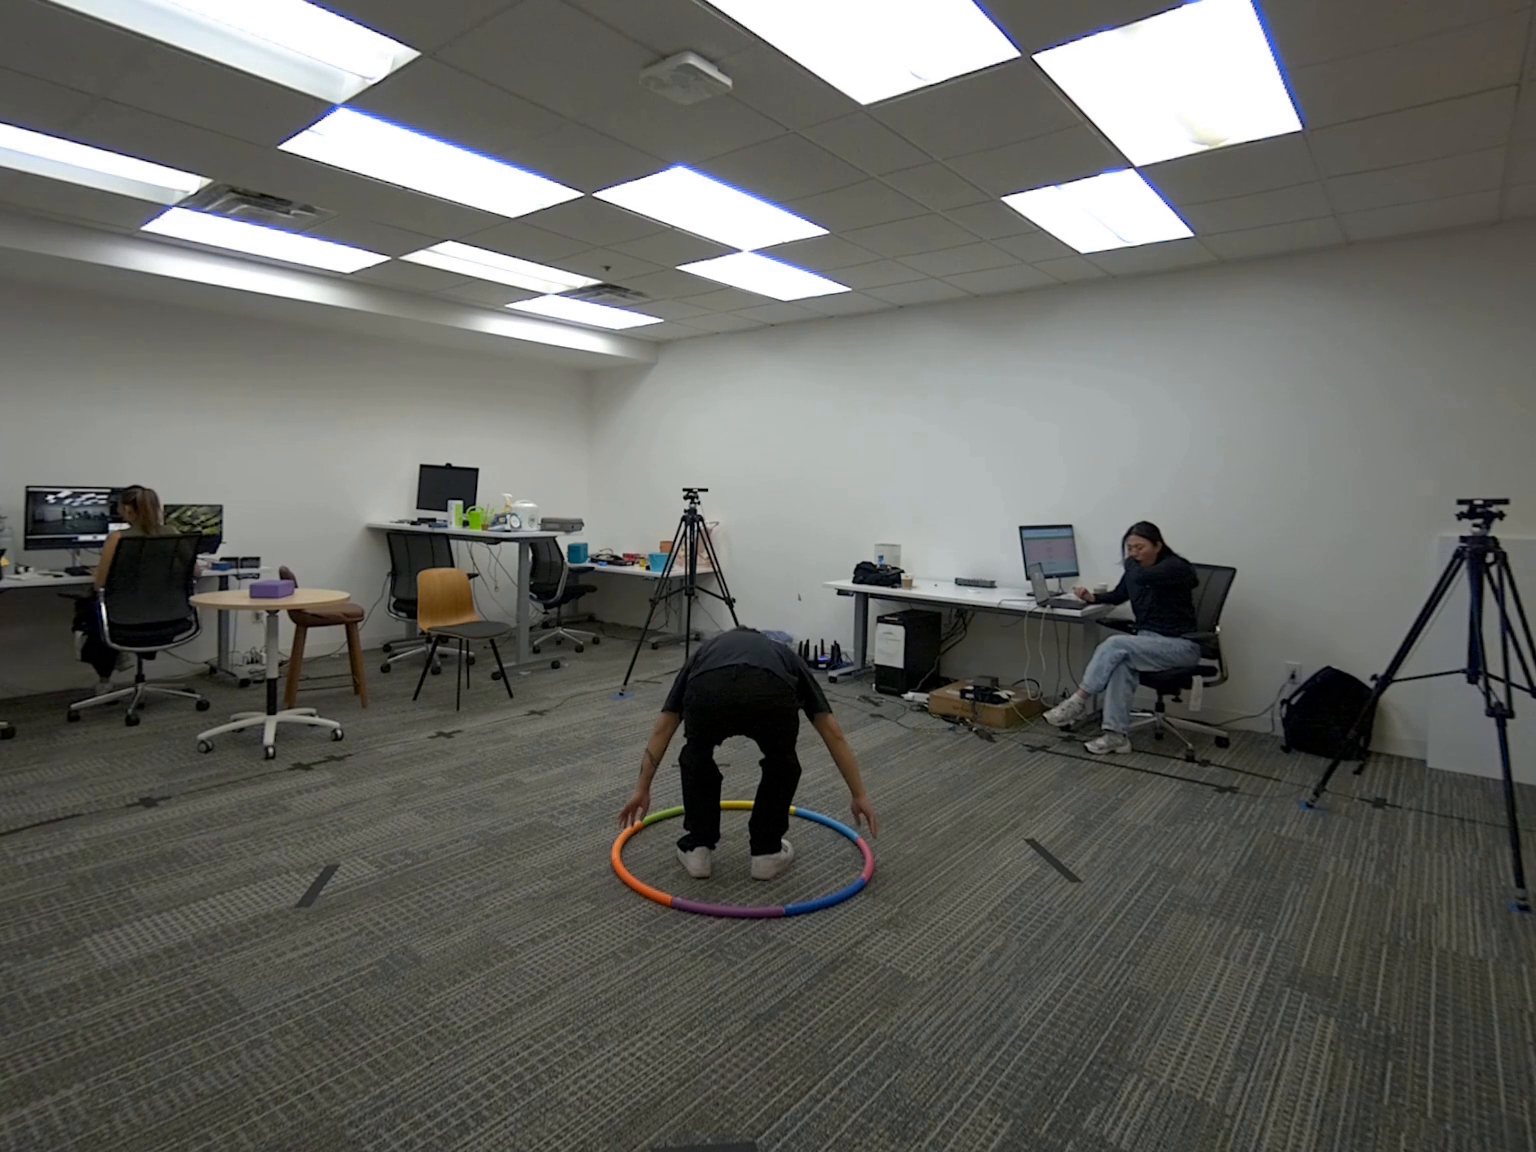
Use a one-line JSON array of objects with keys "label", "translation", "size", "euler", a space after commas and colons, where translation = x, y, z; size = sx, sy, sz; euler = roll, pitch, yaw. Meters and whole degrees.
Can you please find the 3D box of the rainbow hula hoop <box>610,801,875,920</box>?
[{"label": "rainbow hula hoop", "translation": [-0.106, 1.031, 3.233], "size": [0.978, 0.035, 0.984], "euler": [1, 6, -2]}]
